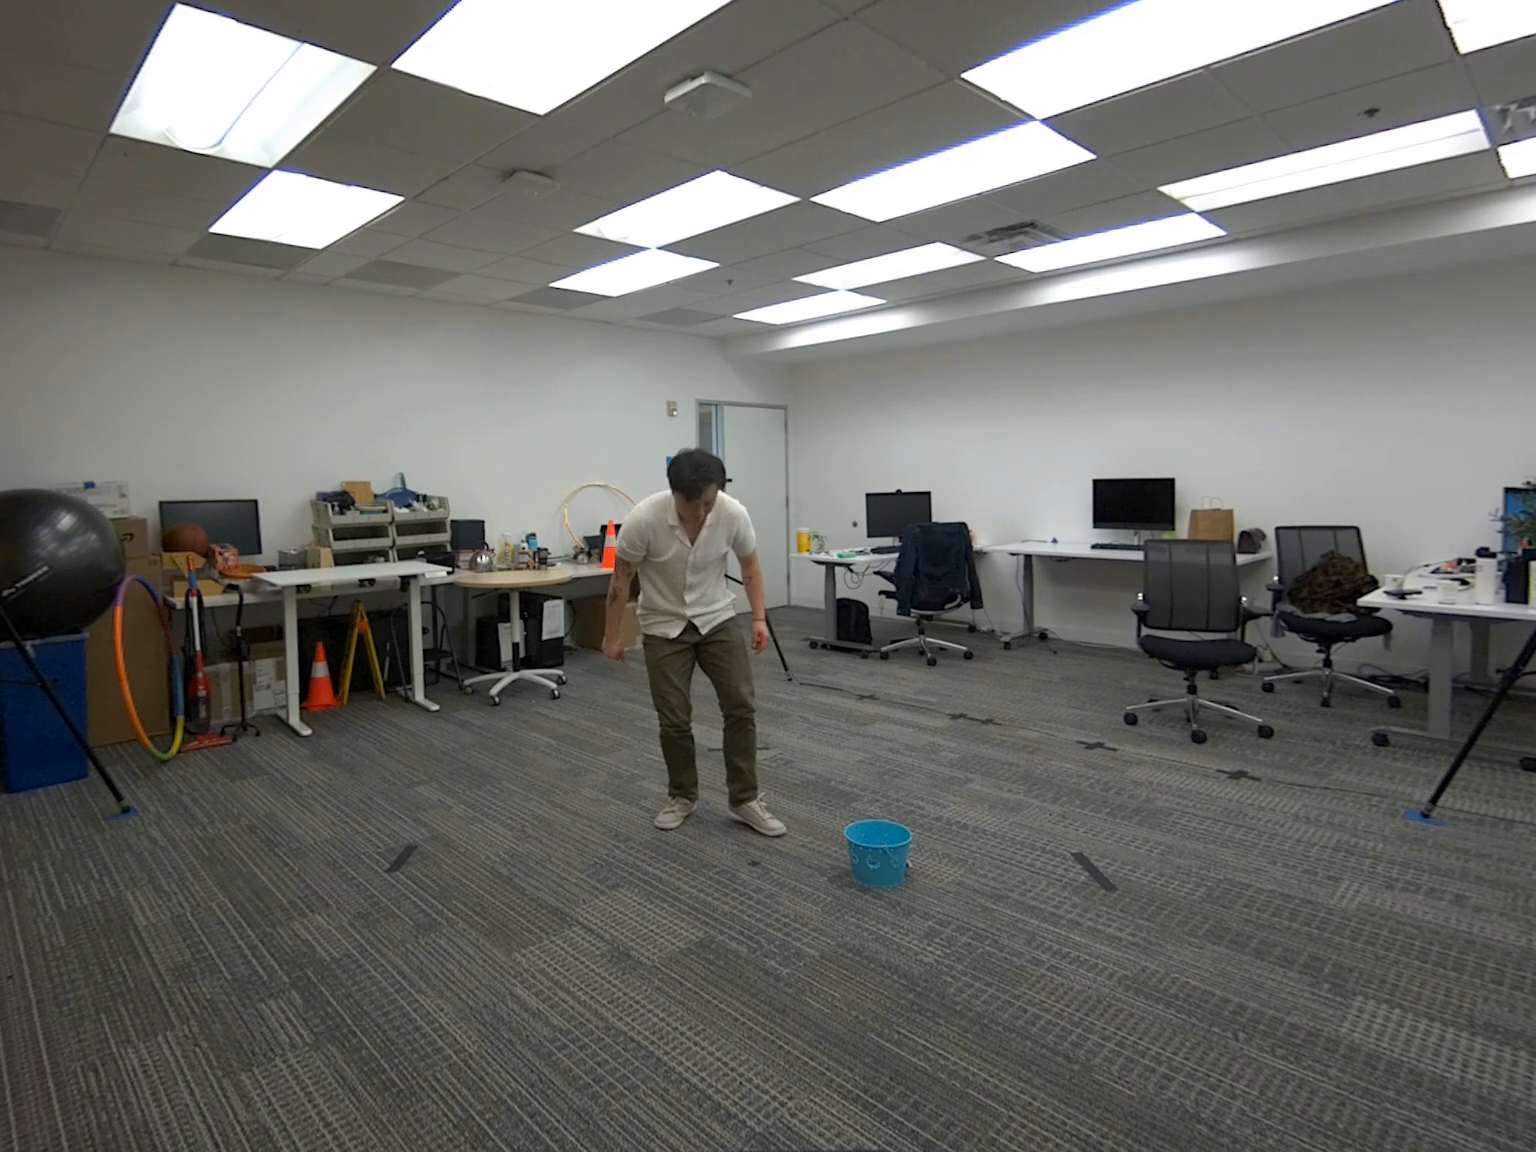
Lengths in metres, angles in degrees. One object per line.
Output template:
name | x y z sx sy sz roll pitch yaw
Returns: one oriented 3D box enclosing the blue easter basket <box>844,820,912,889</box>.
blue easter basket | 0.394 0.973 2.984 0.243 0.155 0.245 -3 6 -1
